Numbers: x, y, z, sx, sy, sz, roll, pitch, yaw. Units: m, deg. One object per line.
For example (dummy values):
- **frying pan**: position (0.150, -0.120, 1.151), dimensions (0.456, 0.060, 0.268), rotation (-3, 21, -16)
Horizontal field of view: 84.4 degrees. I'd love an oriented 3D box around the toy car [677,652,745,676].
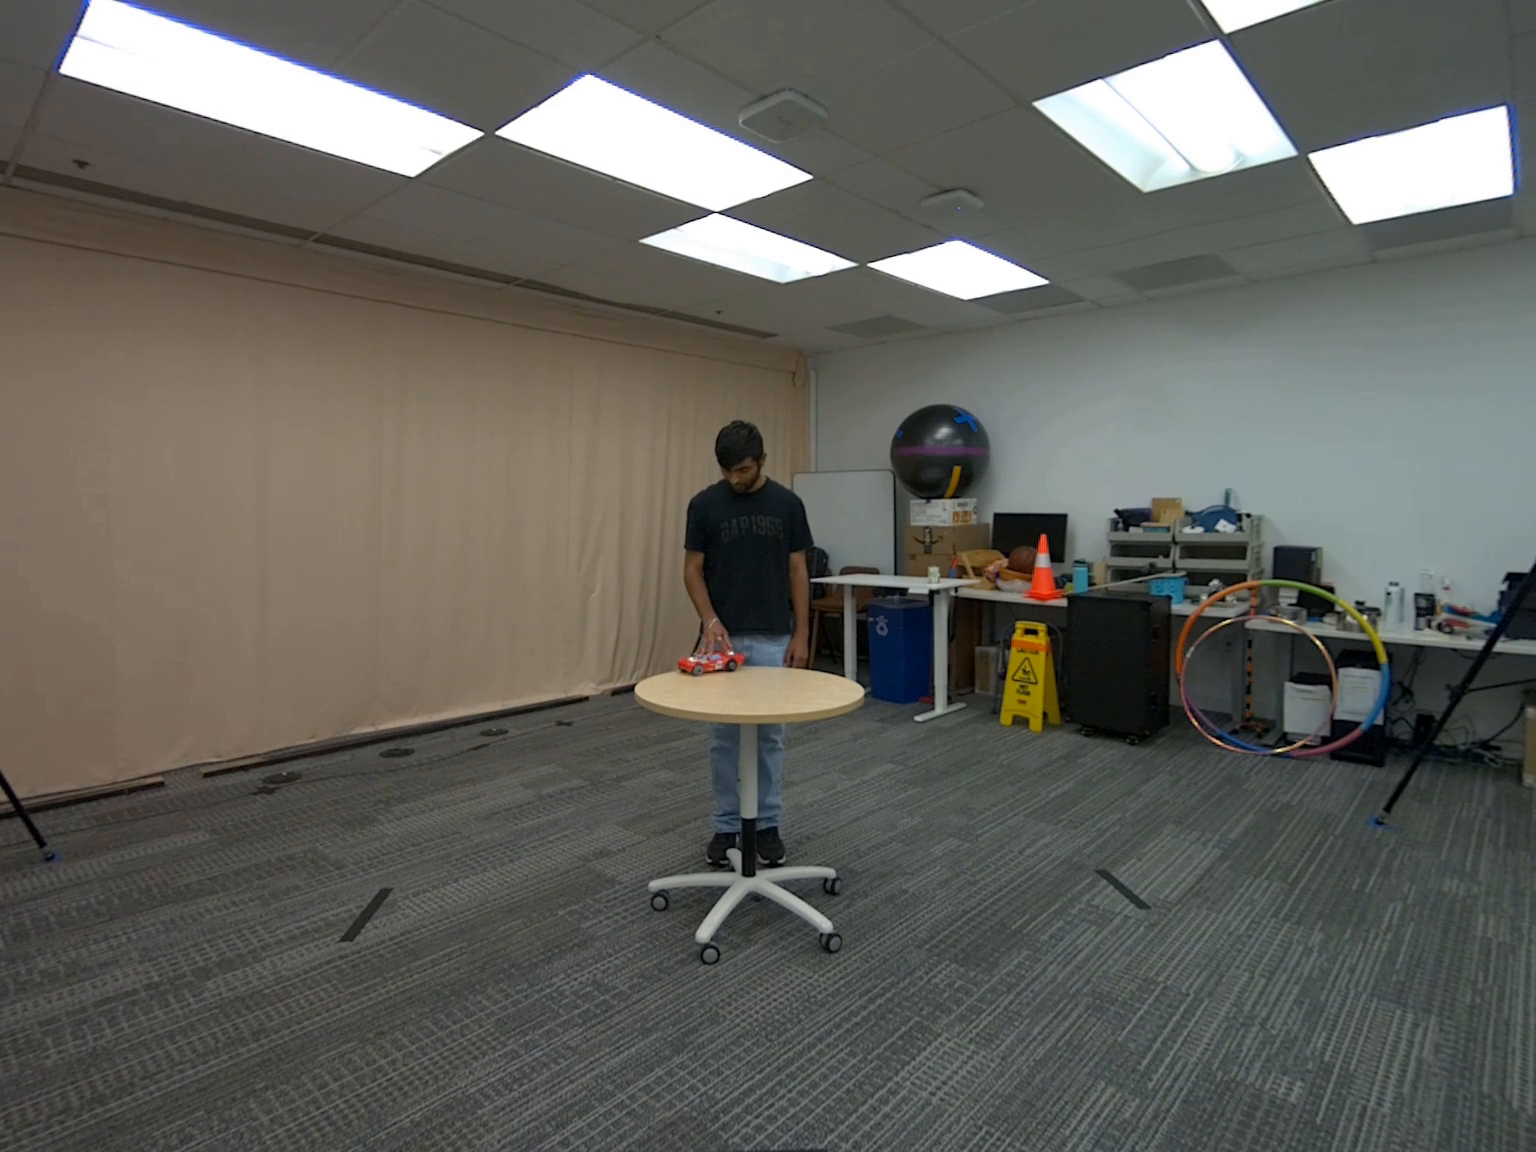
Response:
- **toy car**: position (-0.201, 0.321, 3.113), dimensions (0.248, 0.082, 0.134), rotation (-16, 12, -32)
